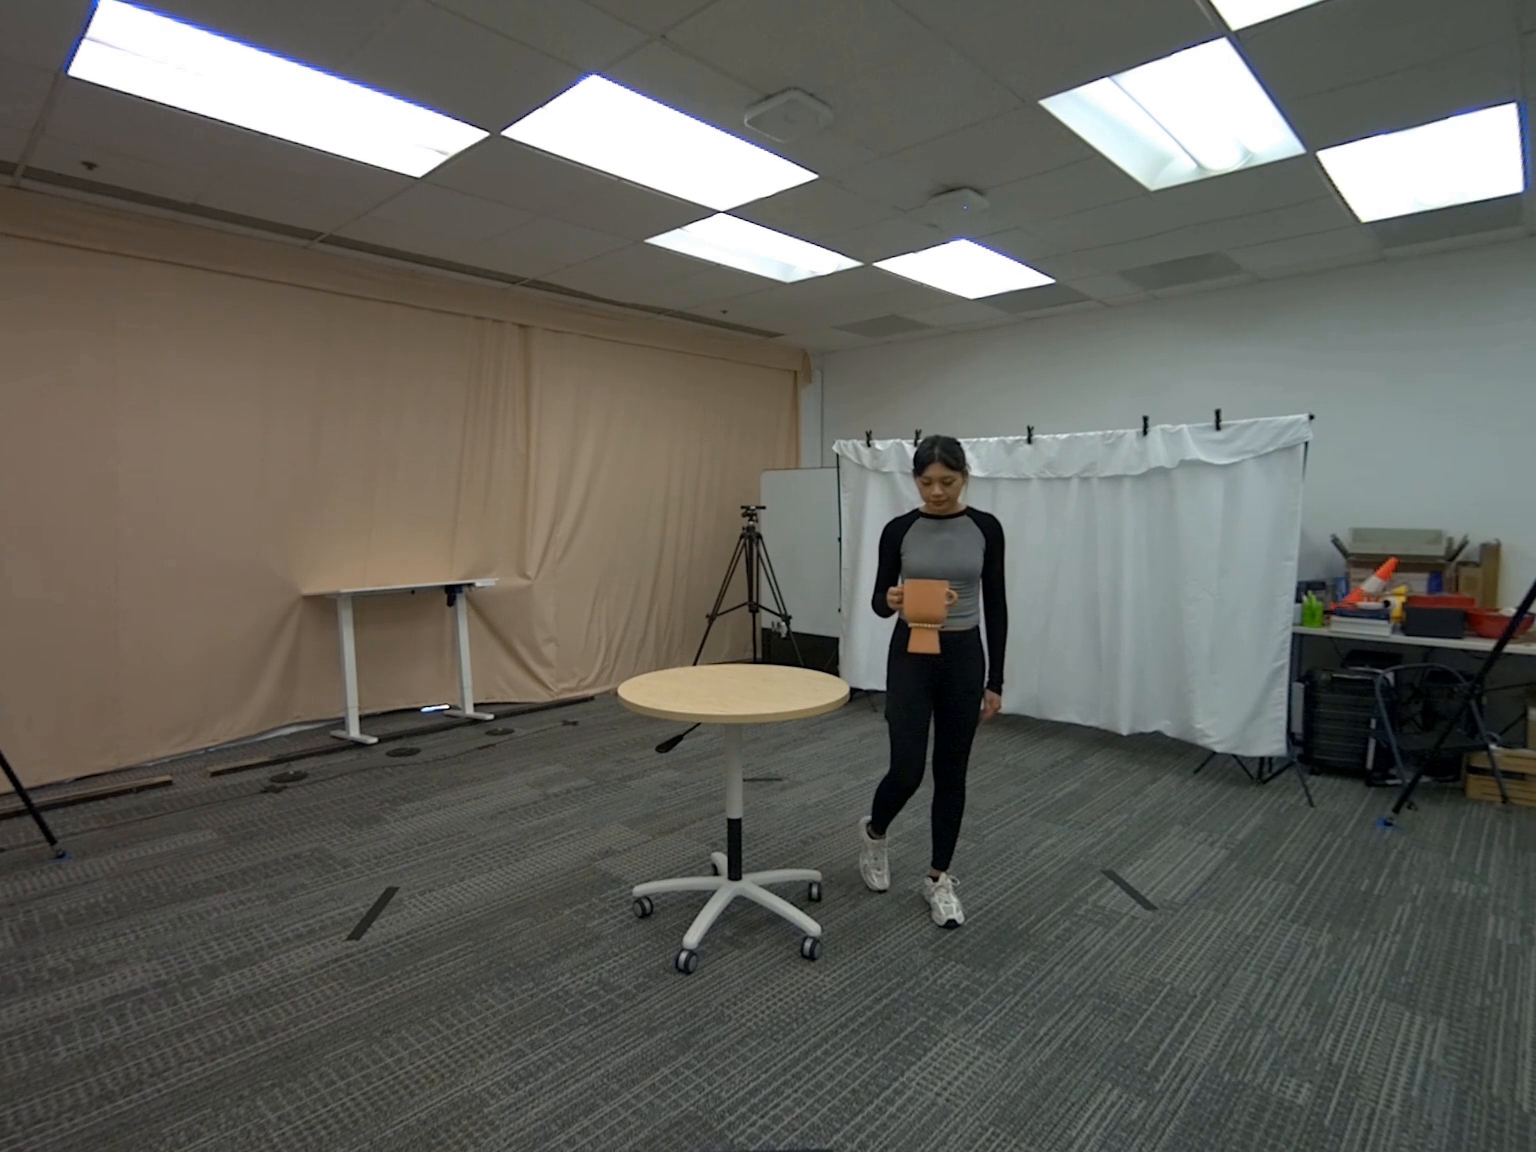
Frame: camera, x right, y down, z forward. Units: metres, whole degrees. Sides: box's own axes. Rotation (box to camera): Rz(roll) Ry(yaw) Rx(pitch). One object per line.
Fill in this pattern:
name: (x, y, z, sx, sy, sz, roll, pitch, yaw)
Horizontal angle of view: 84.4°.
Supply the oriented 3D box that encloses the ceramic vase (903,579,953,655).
ceramic vase: (0.490, 0.125, 2.586, 0.132, 0.220, 0.161, 0, -3, -19)
